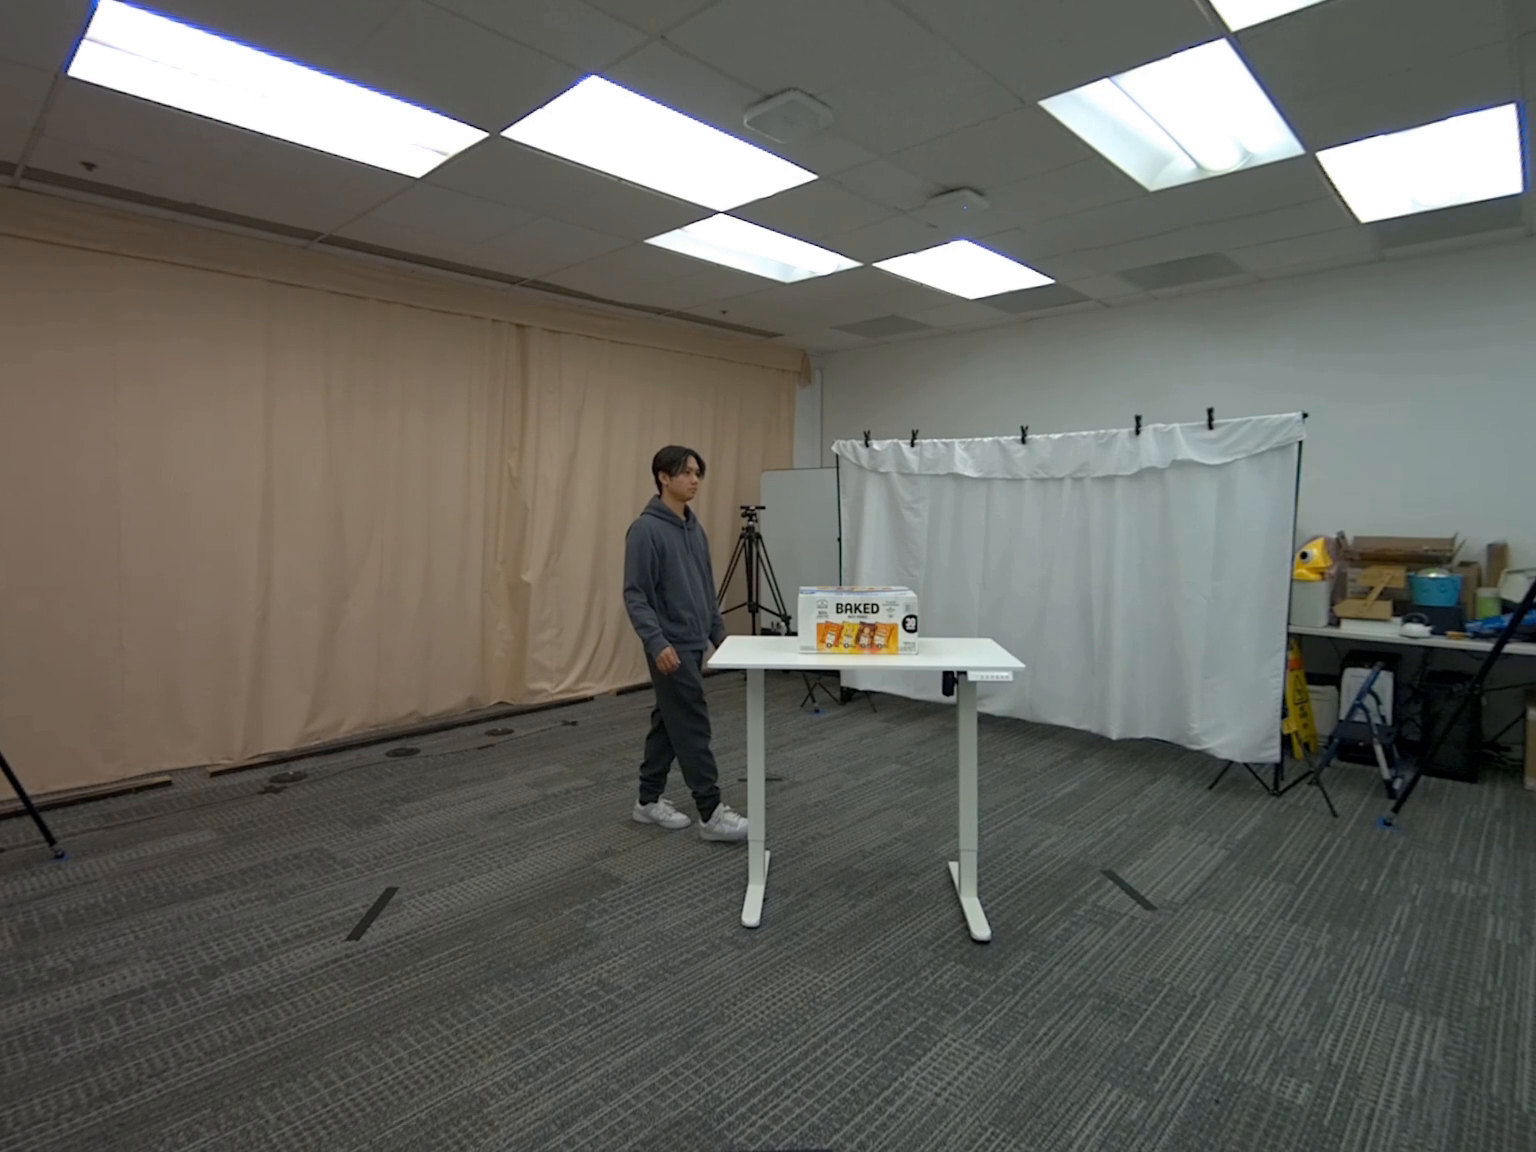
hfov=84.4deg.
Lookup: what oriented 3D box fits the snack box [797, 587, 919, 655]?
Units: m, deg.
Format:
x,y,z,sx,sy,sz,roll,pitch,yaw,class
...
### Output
x,y,z,sx,sy,sz,roll,pitch,yaw,class
0.320,0.155,3.037,0.408,0.205,0.339,0,3,5,snack box
